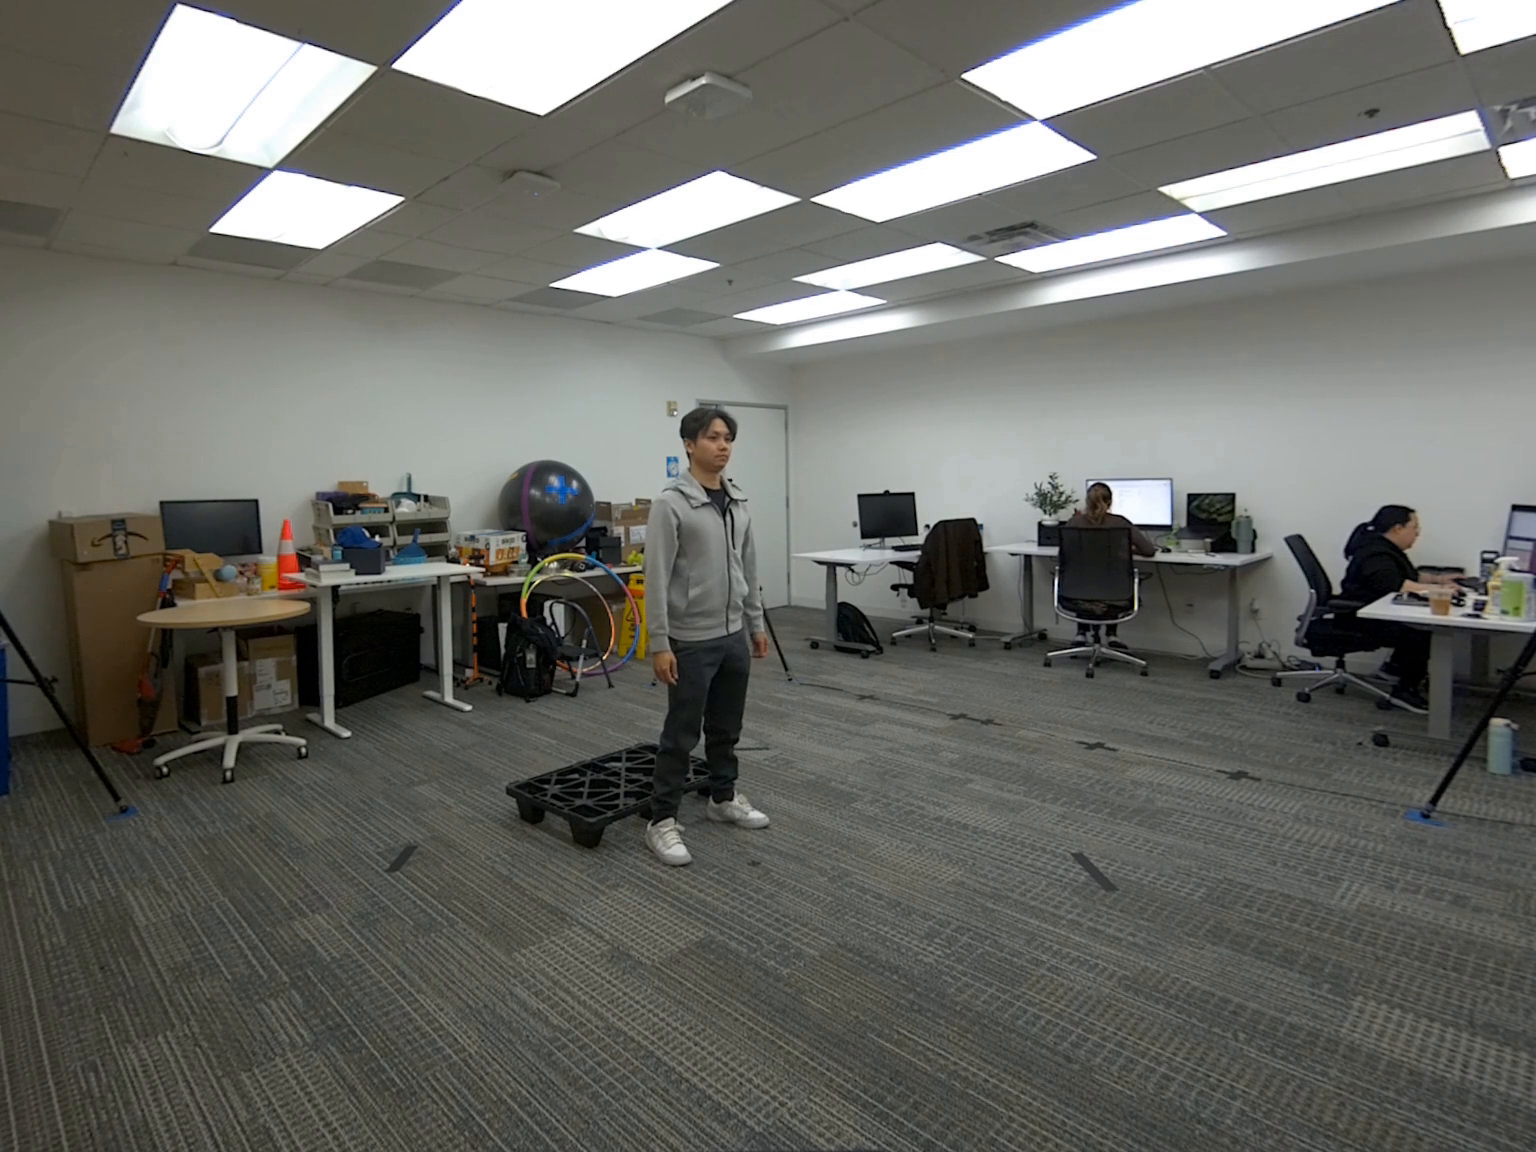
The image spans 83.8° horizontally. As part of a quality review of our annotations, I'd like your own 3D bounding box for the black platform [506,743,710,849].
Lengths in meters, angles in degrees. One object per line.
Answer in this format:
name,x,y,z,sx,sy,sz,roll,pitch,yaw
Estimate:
black platform,-0.612,0.923,3.668,0.624,0.142,0.785,5,9,42
